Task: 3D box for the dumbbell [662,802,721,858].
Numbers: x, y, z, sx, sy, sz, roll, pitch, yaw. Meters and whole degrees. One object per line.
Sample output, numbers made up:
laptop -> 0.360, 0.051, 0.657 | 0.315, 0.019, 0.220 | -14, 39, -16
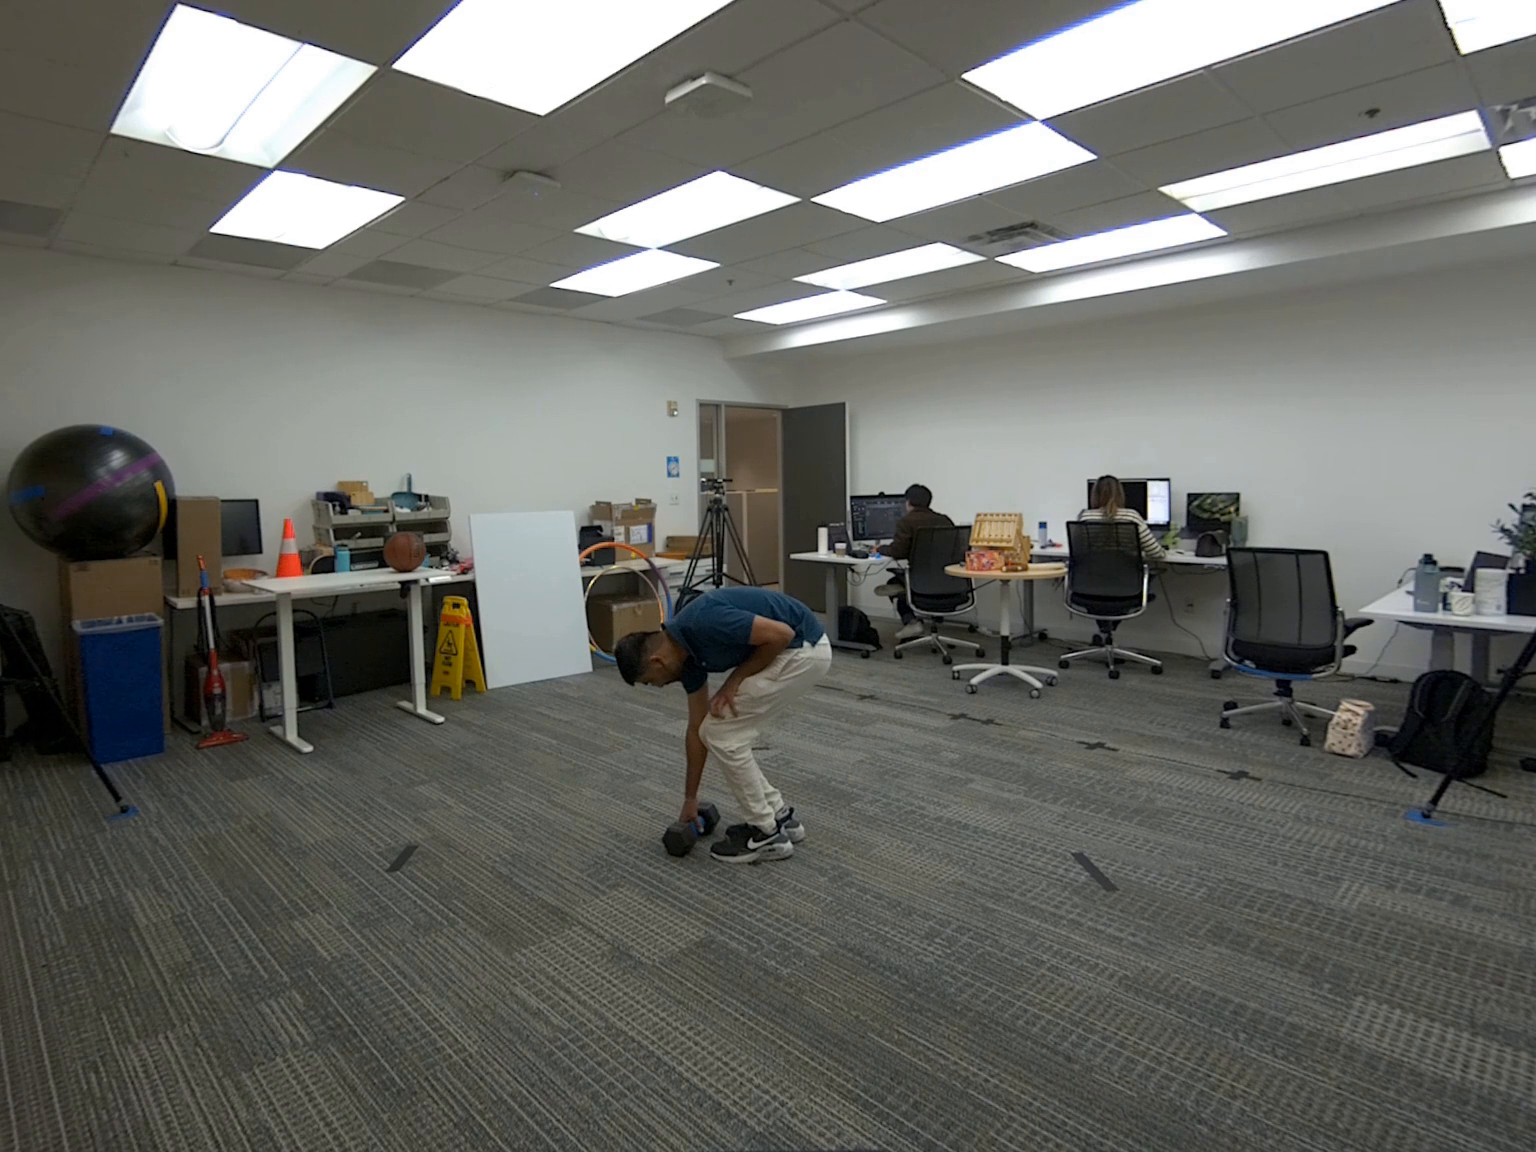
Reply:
dumbbell -> -0.291, 0.975, 3.298 | 0.109, 0.124, 0.289 | -33, -6, 21
